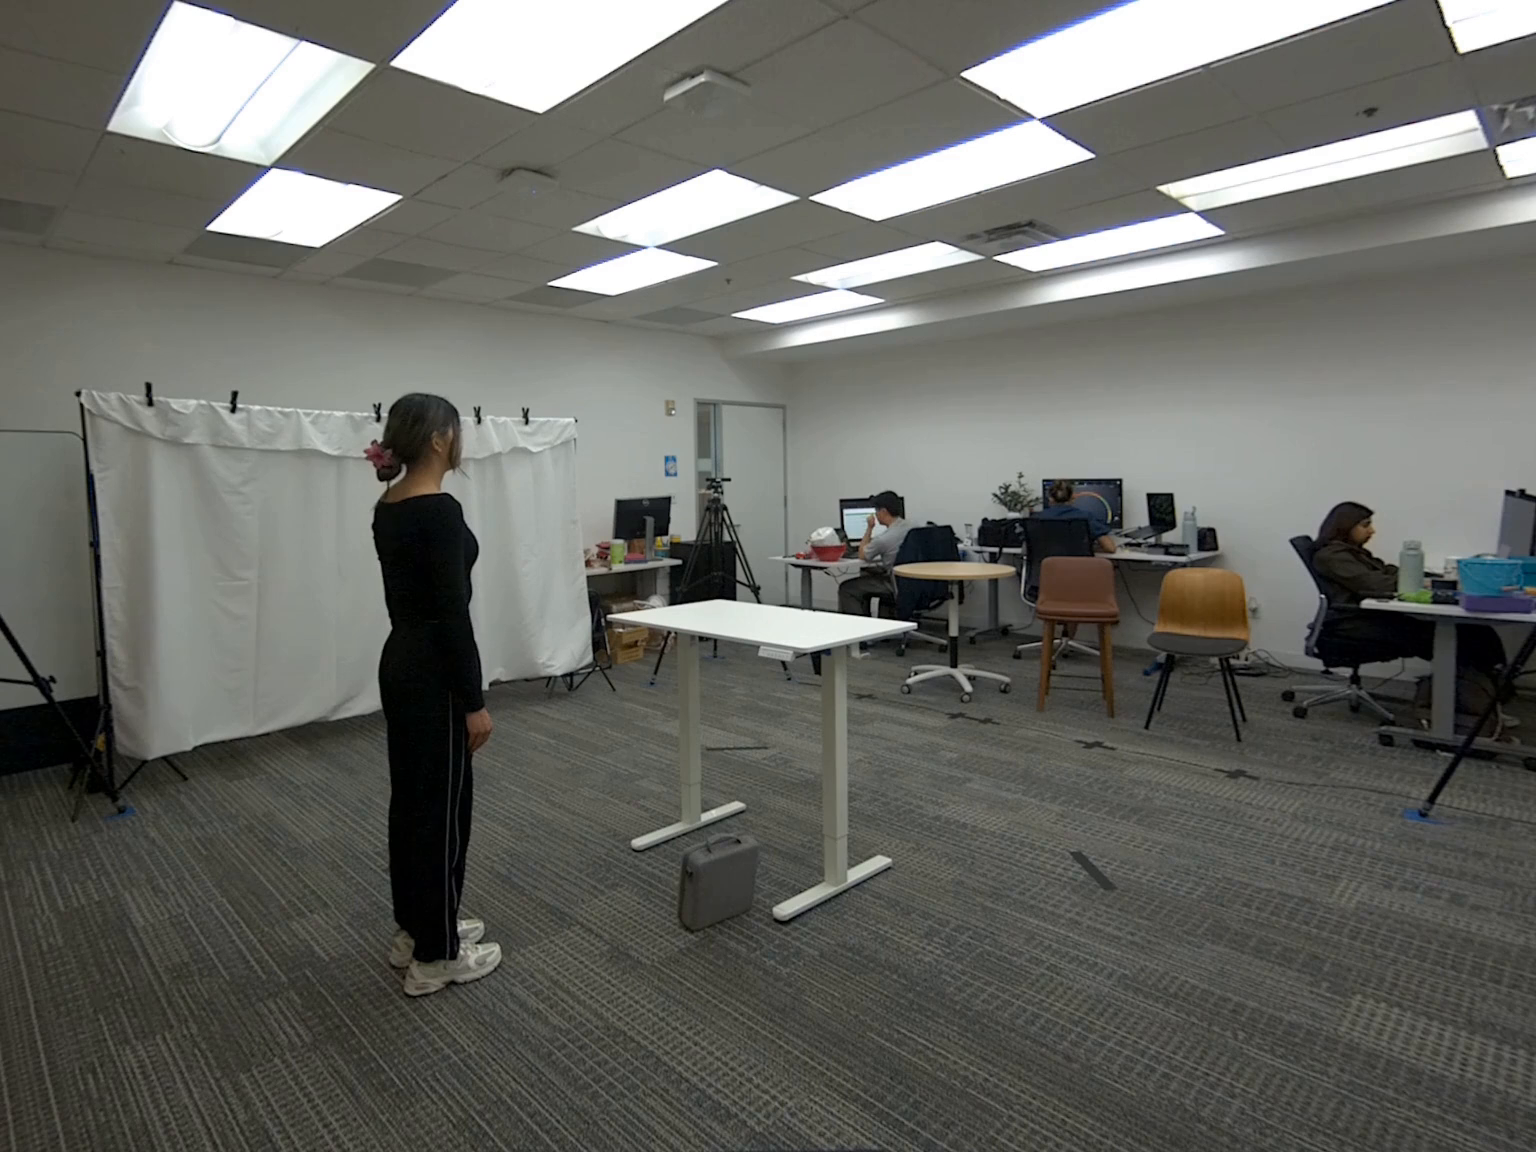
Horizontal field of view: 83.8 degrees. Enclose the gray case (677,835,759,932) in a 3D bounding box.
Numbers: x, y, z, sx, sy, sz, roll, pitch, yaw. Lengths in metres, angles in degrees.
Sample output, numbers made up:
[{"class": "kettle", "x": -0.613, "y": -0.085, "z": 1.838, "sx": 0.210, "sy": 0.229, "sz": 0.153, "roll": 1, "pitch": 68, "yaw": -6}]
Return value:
[{"class": "gray case", "x": -0.153, "y": 0.958, "z": 2.708, "sx": 0.250, "sy": 0.258, "sz": 0.108, "roll": -4, "pitch": 15, "yaw": -35}]
